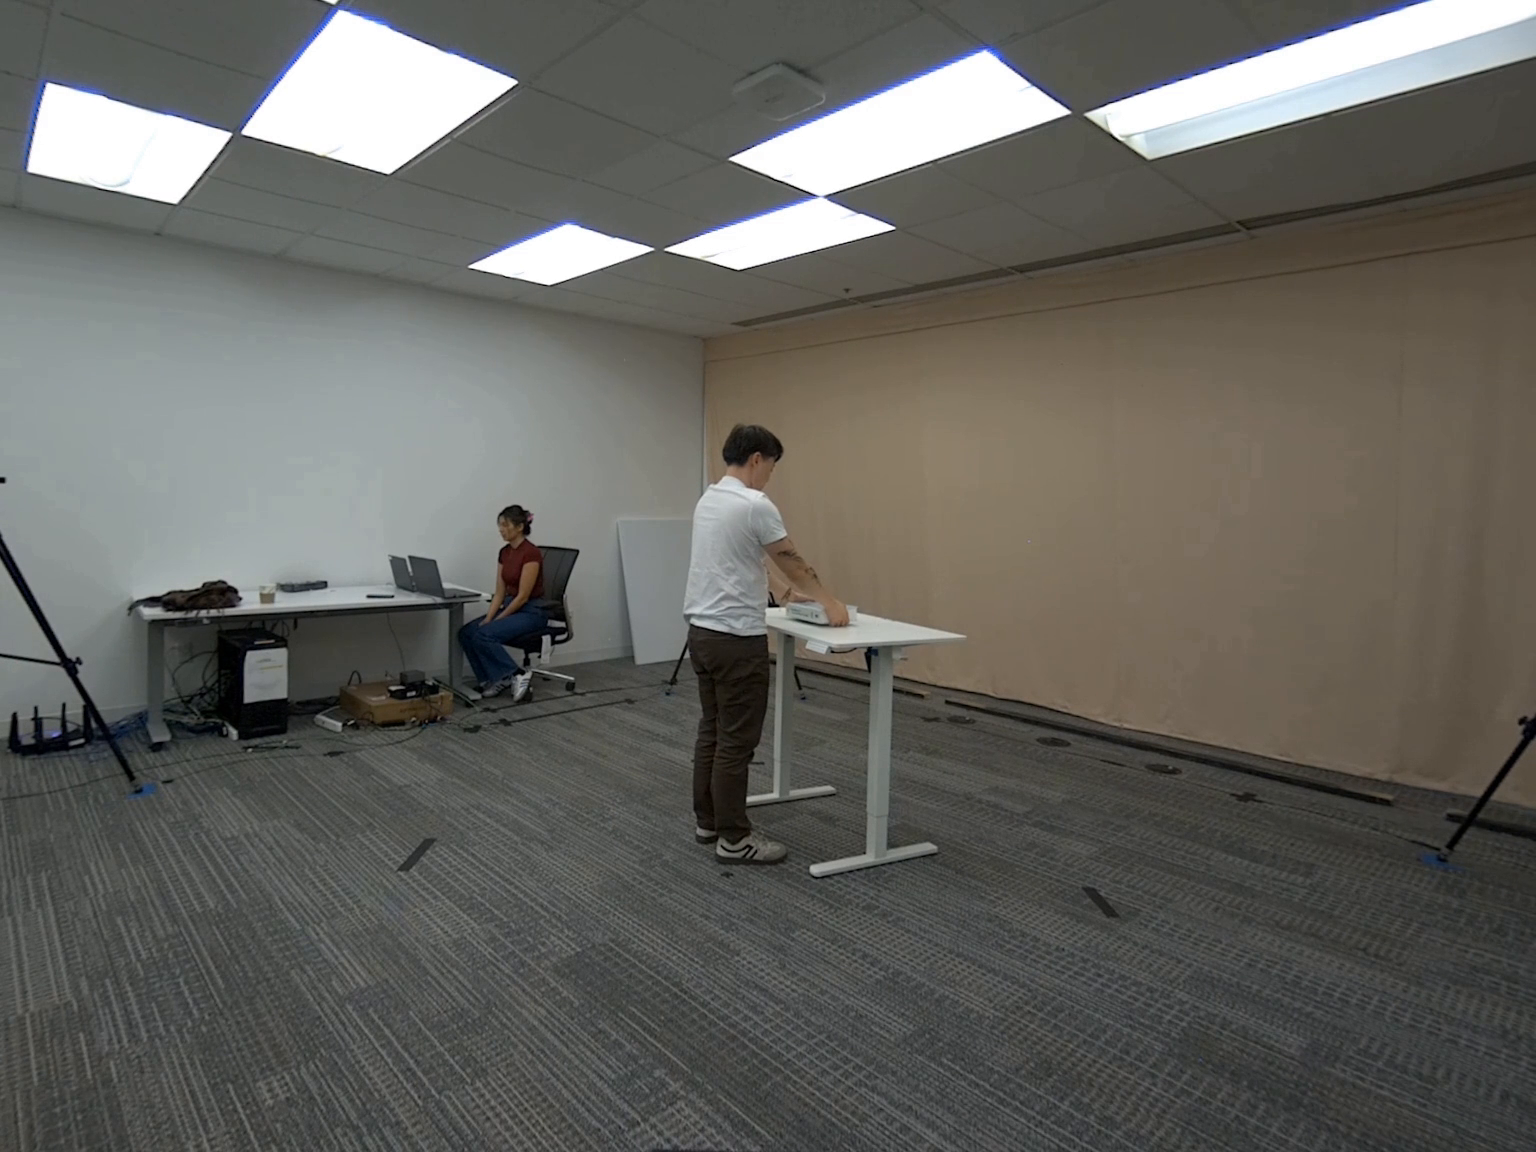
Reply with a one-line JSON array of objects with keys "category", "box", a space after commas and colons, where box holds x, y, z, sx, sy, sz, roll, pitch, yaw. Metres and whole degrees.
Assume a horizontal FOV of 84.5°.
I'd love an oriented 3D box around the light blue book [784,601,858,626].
[{"category": "light blue book", "box": [0.216, 0.150, 3.533, 0.188, 0.059, 0.267, -3, 7, -27]}]
